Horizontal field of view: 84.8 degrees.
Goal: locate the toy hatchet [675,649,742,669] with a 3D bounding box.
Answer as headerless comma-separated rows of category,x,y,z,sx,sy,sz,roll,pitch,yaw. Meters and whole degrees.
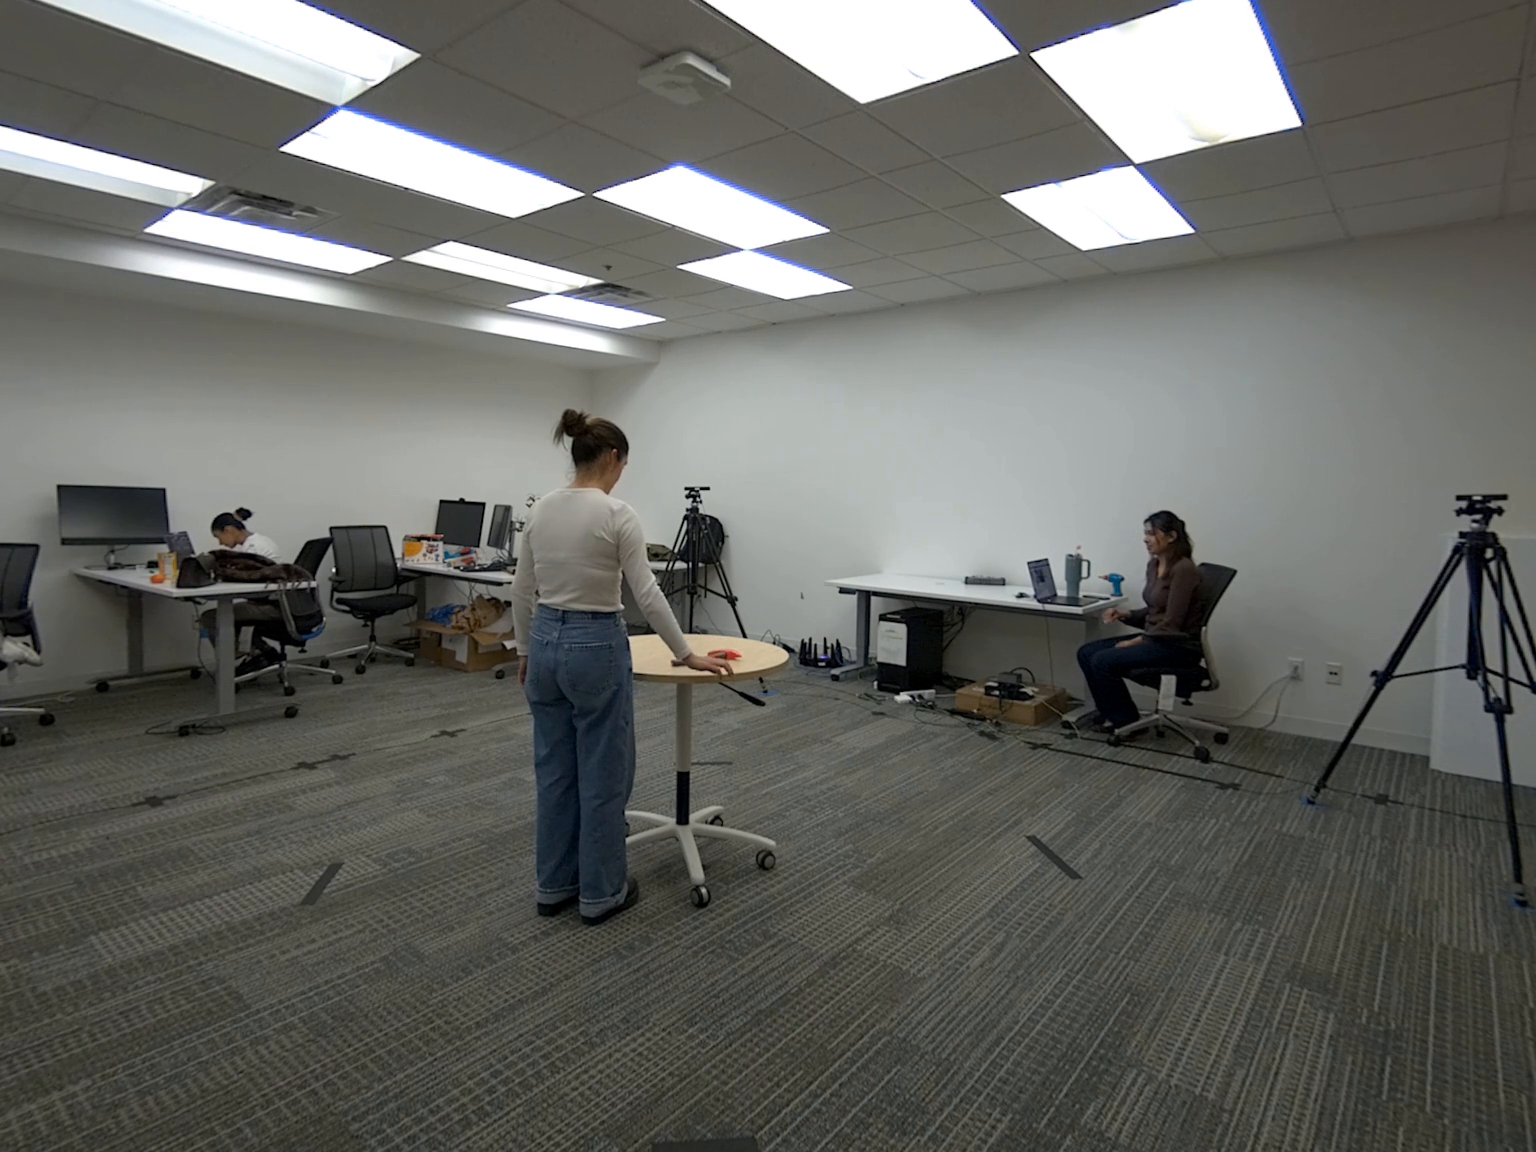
toy hatchet,-0.237,0.284,2.997,0.263,0.029,0.135,-4,7,-31
